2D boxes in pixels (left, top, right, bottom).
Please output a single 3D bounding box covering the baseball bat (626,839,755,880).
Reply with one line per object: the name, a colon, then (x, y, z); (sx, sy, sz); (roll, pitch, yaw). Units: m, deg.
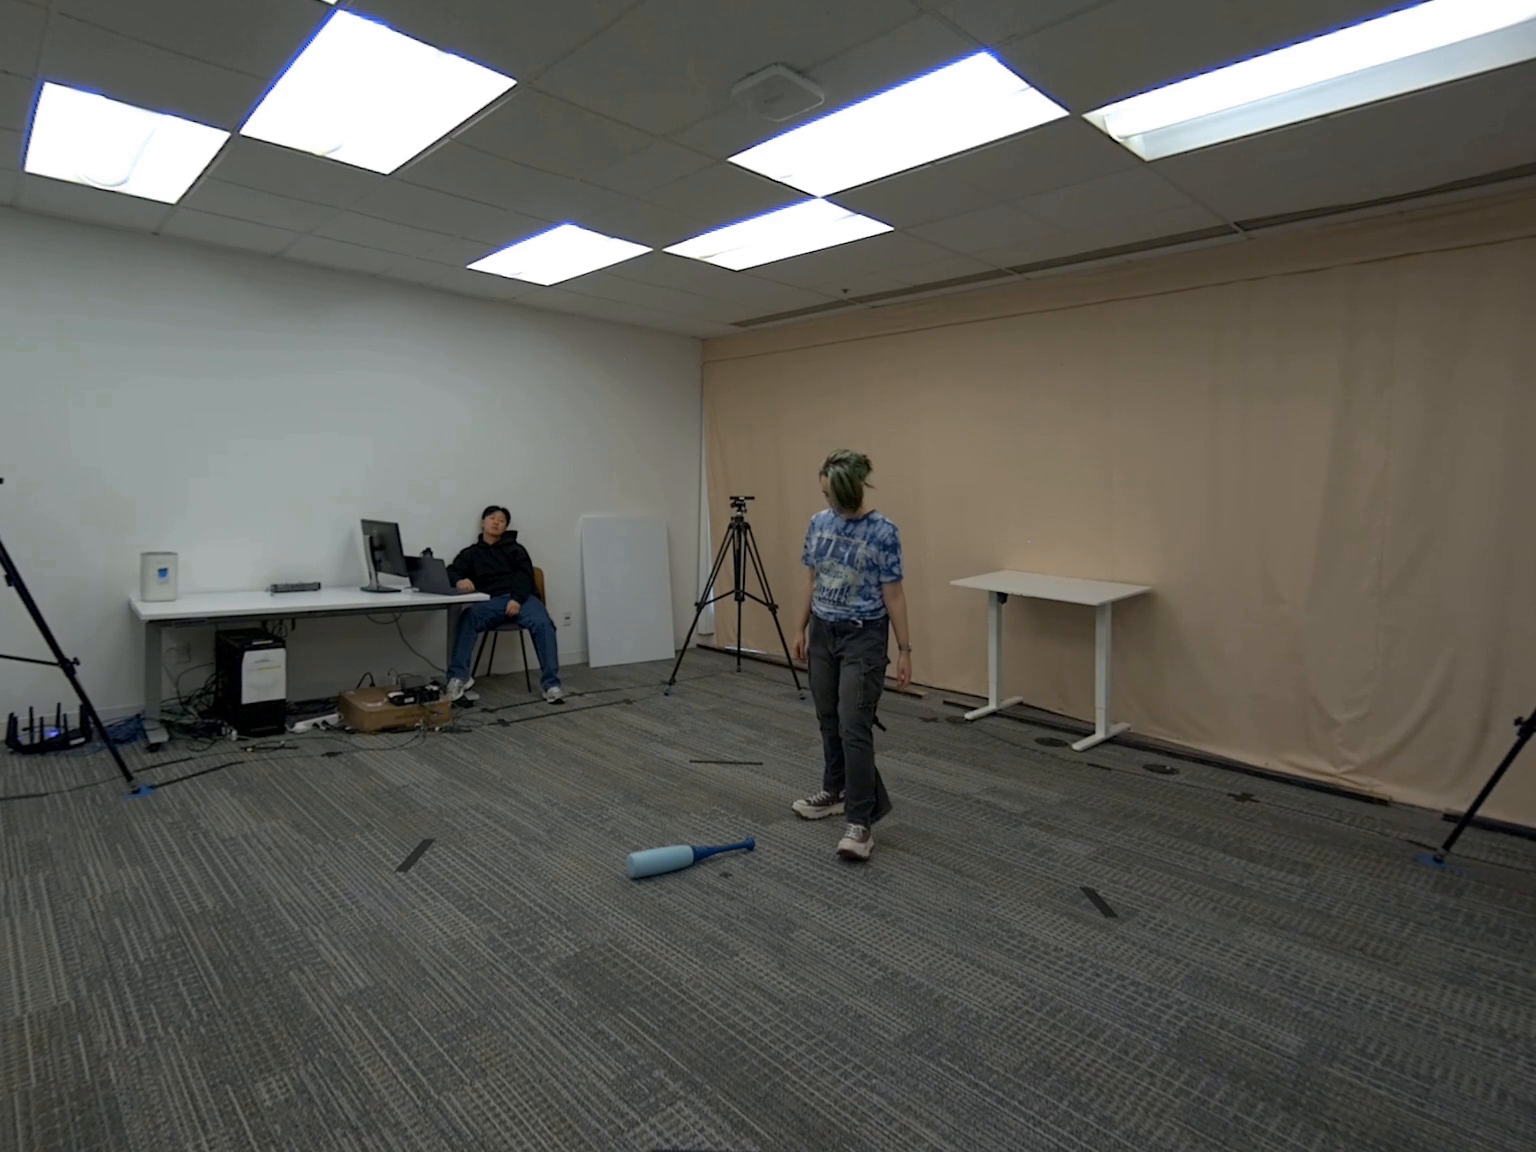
baseball bat: (-0.288, 1.060, 3.190); (0.531, 0.089, 0.091); (2, 3, -33)
